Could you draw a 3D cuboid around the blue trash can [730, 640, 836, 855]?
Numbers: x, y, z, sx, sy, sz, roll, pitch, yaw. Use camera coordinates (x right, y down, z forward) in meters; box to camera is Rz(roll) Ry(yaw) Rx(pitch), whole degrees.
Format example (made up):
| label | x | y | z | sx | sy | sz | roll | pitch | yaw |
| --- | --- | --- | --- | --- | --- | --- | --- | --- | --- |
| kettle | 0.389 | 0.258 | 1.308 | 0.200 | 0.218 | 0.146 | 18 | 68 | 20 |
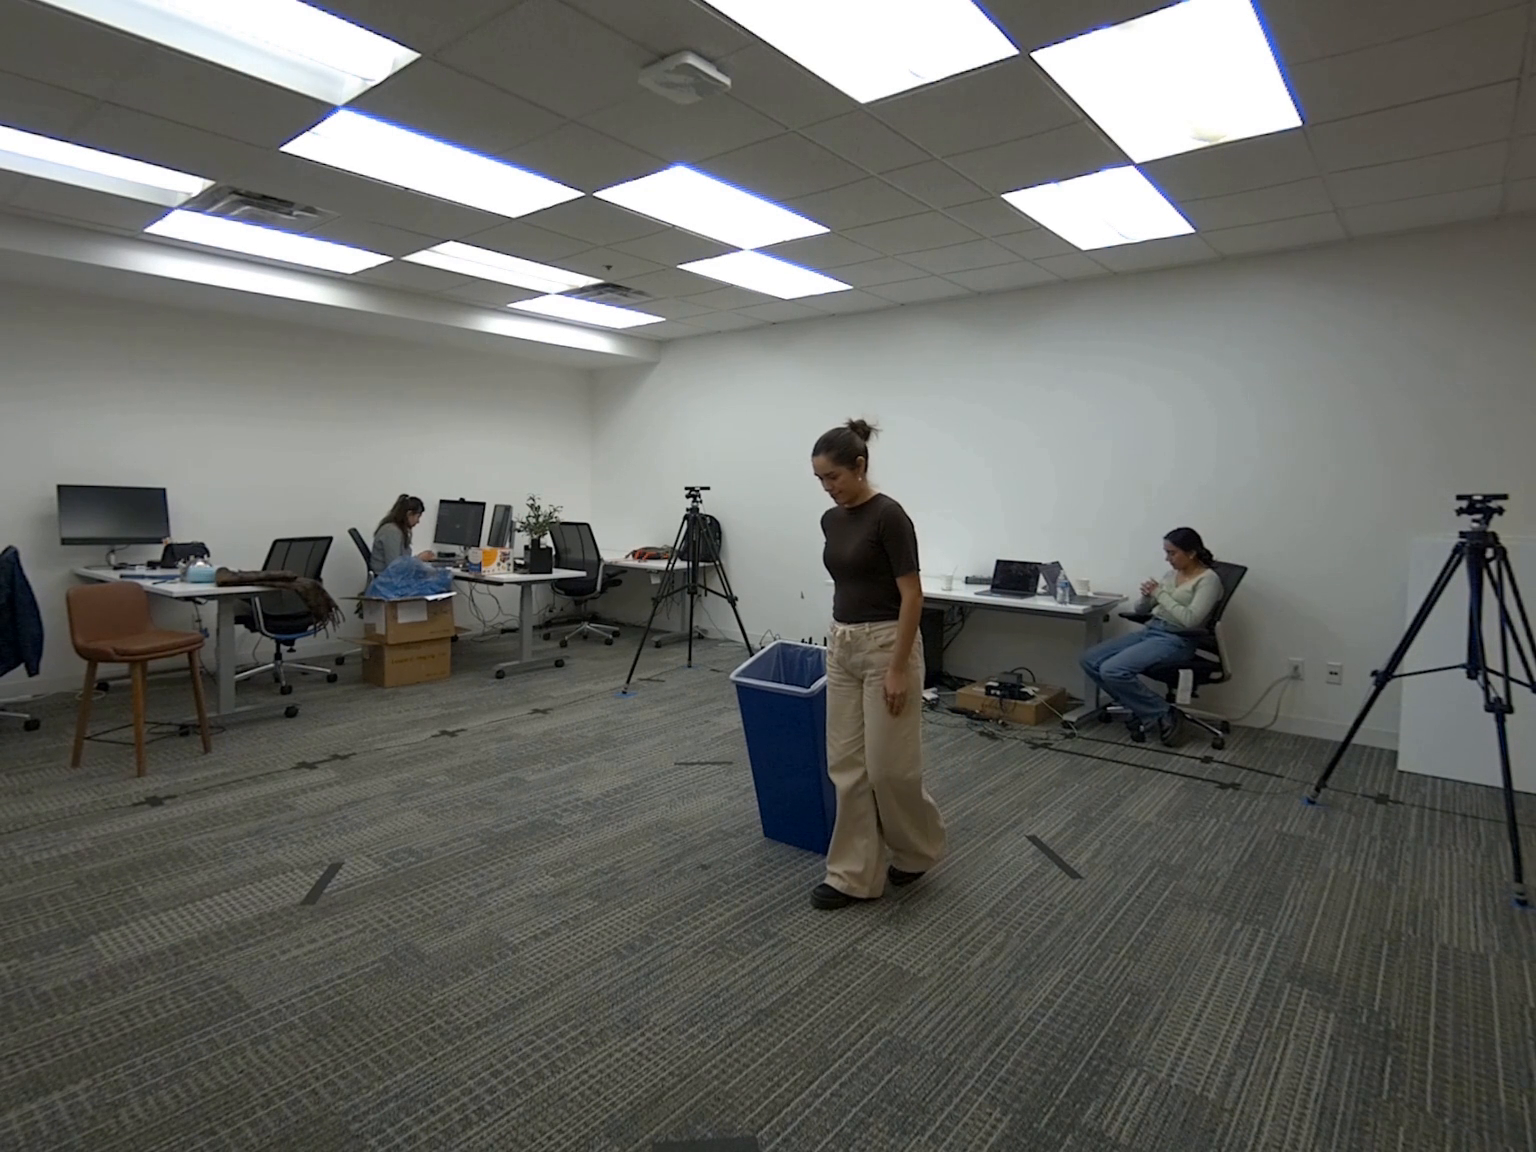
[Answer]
| label | x | y | z | sx | sy | sz | roll | pitch | yaw |
| --- | --- | --- | --- | --- | --- | --- | --- | --- | --- |
| blue trash can | 0.126 | 0.669 | 3.328 | 0.390 | 0.702 | 0.368 | 3 | 18 | 34 |
